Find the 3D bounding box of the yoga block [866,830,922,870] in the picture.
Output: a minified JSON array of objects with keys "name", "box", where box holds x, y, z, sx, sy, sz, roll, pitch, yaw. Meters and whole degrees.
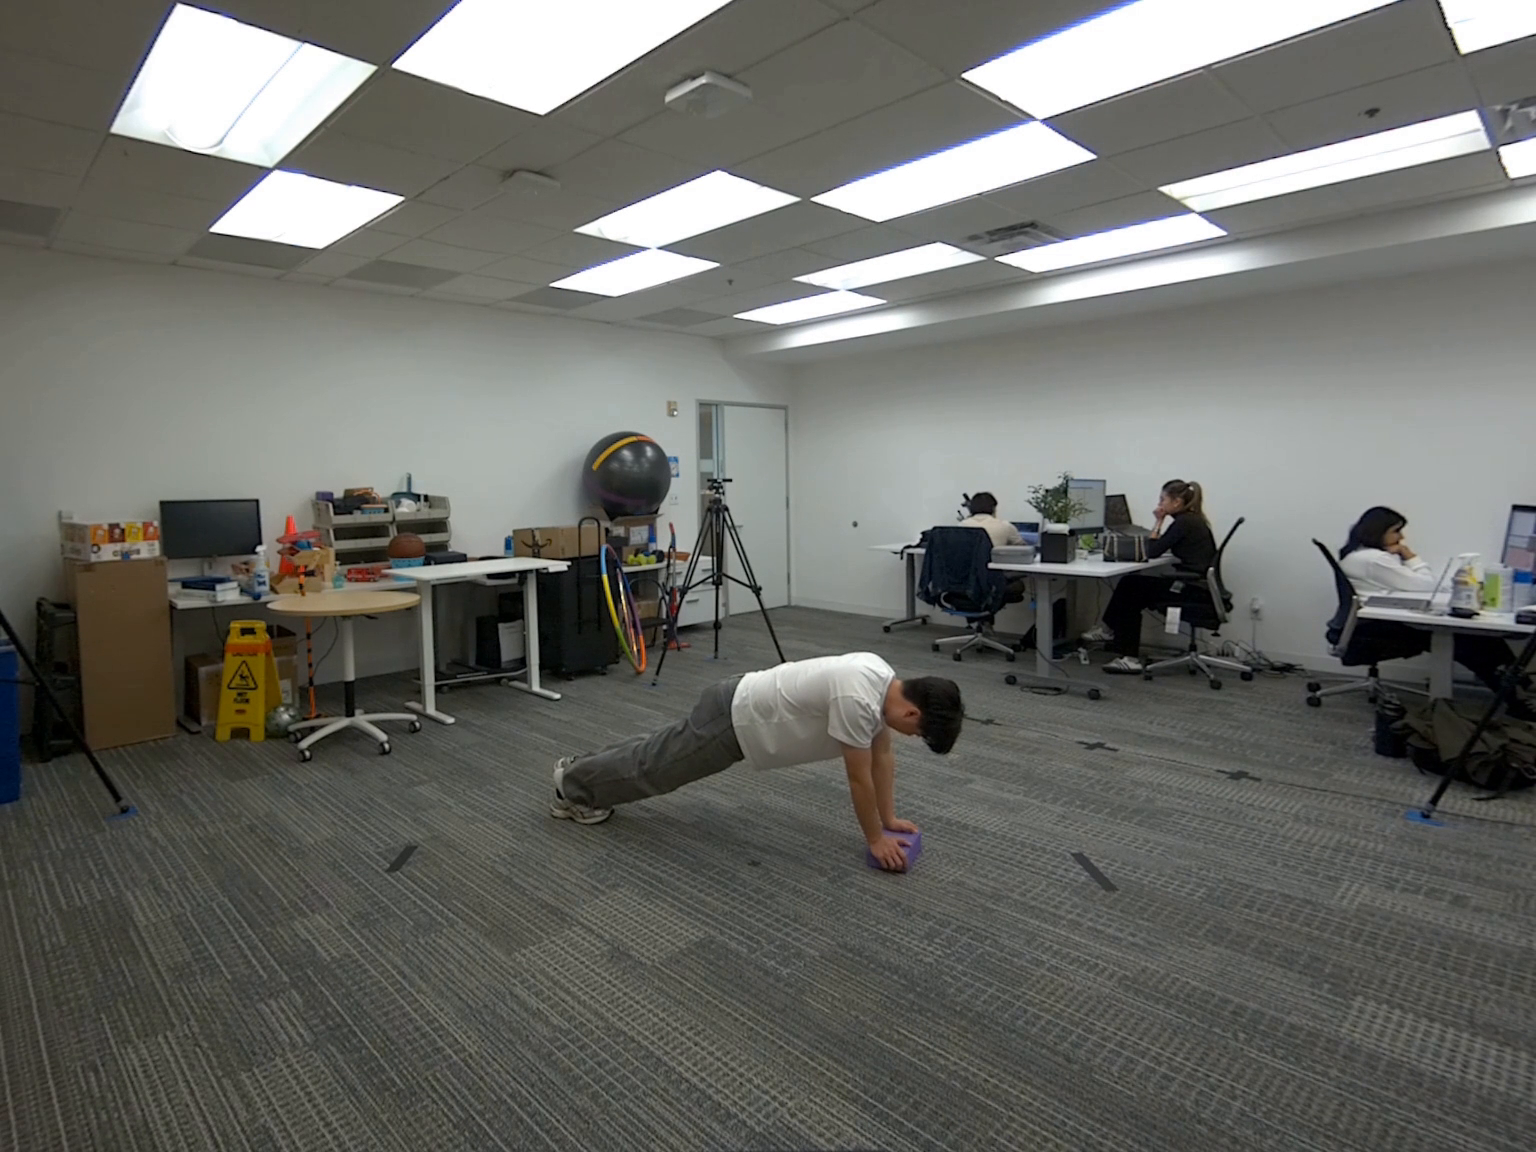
[{"name":"yoga block","box":[0.466,0.999,3.138,0.152,0.076,0.225,2,6,25]}]
